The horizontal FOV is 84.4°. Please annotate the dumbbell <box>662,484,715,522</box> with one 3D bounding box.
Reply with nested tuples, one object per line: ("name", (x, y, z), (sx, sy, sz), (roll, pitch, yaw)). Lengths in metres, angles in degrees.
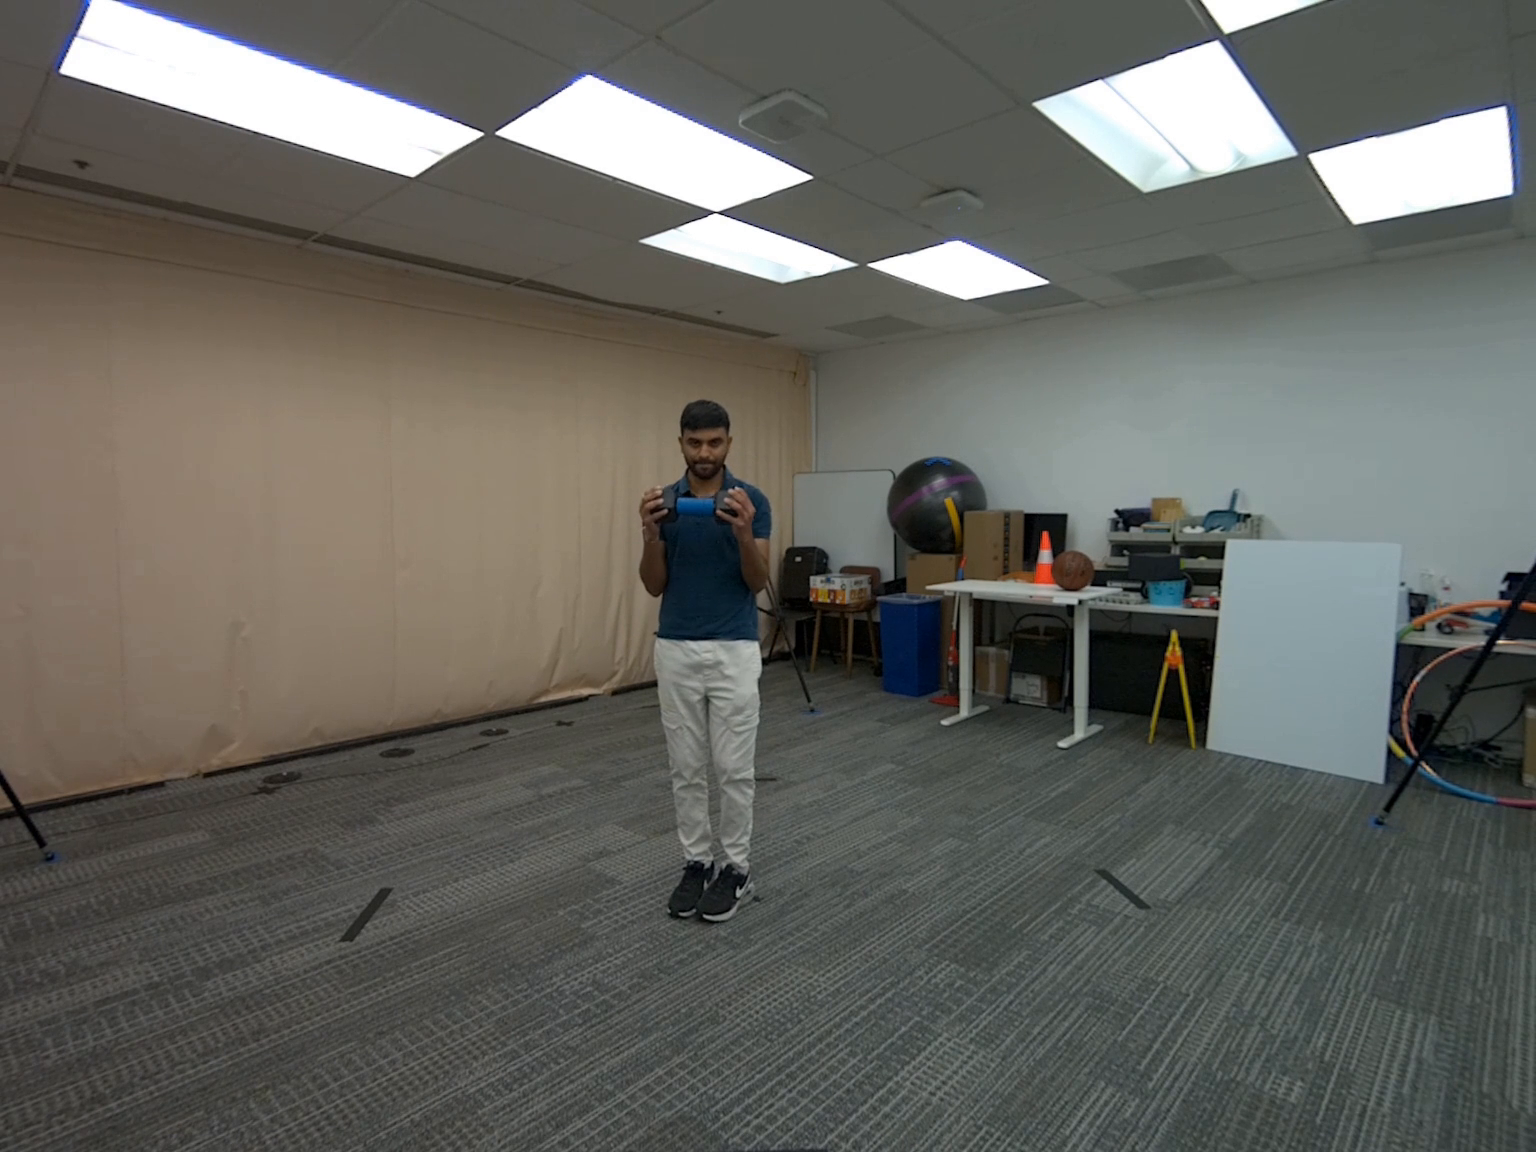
("dumbbell", (-0.242, -0.211, 2.733), (0.297, 0.108, 0.122), (0, 8, 11))
